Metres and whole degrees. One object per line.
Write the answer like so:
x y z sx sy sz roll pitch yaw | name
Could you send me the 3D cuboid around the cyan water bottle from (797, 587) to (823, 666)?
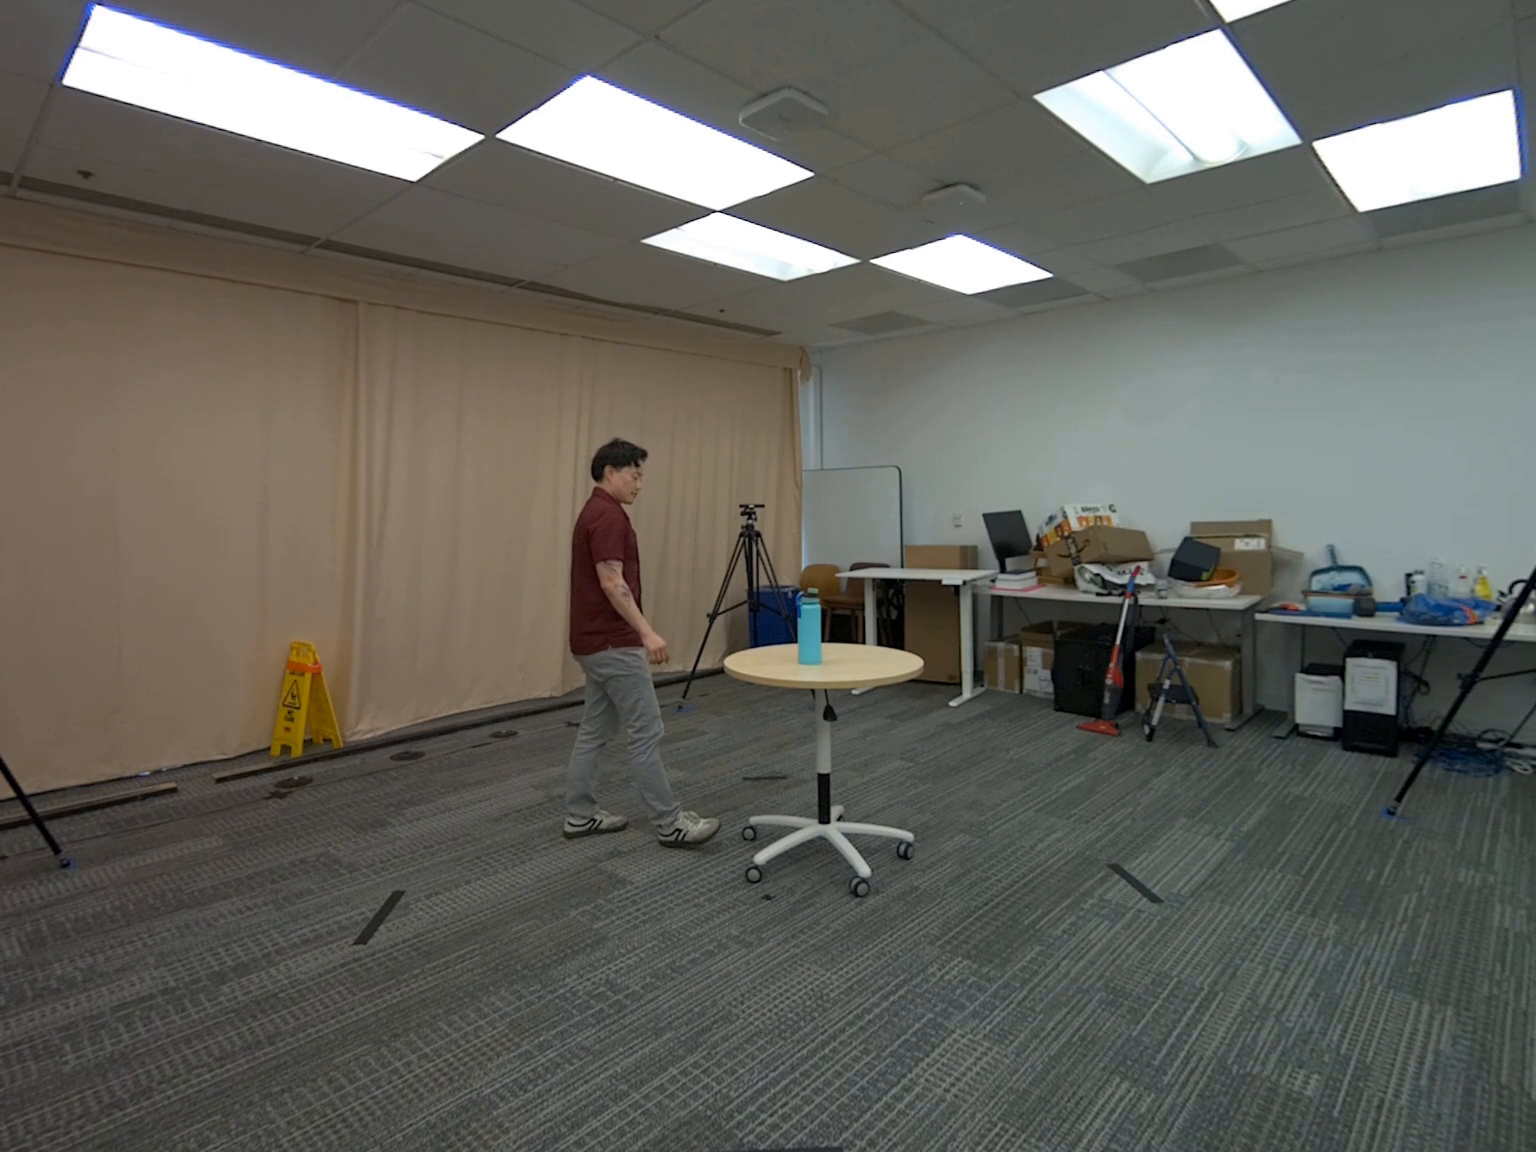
0.163 0.193 3.221 0.092 0.283 0.092 -2 4 -2 | cyan water bottle
